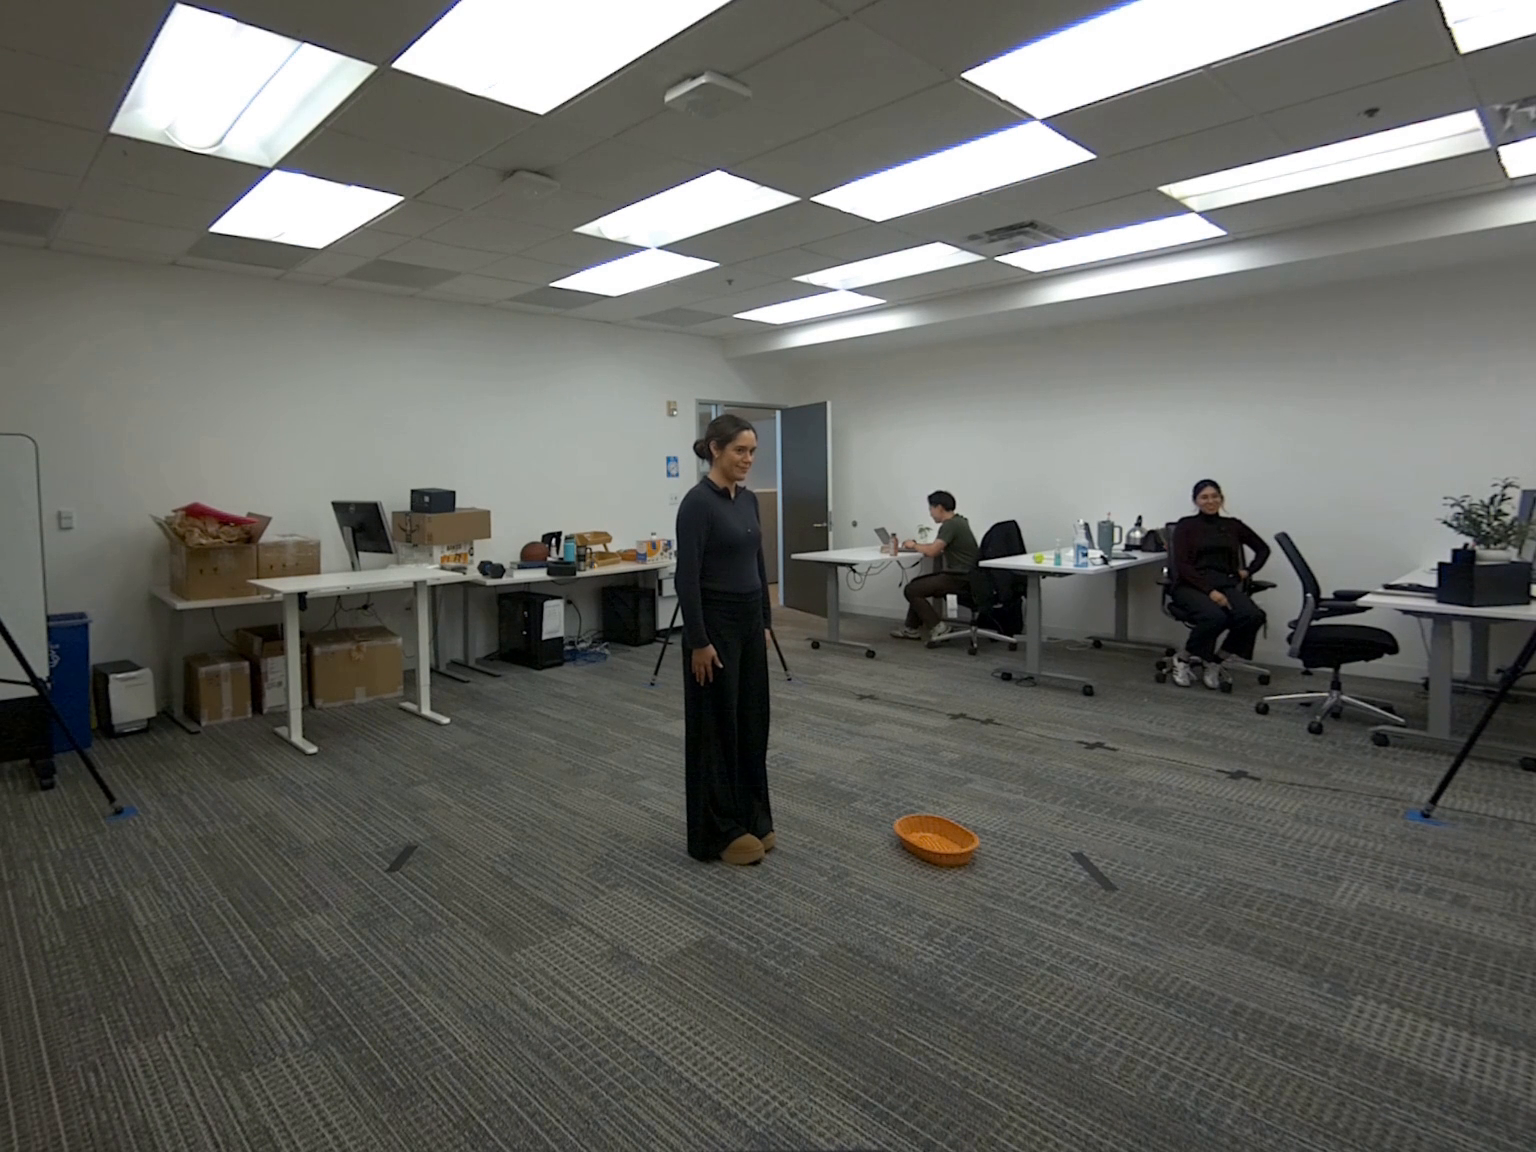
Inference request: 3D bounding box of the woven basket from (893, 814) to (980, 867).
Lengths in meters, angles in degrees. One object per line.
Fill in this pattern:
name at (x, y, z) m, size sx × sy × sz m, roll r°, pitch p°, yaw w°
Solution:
woven basket at (0.618, 0.980, 3.175) m, size 0.247 × 0.073 × 0.359 m, roll -5°, pitch 7°, yaw -25°
